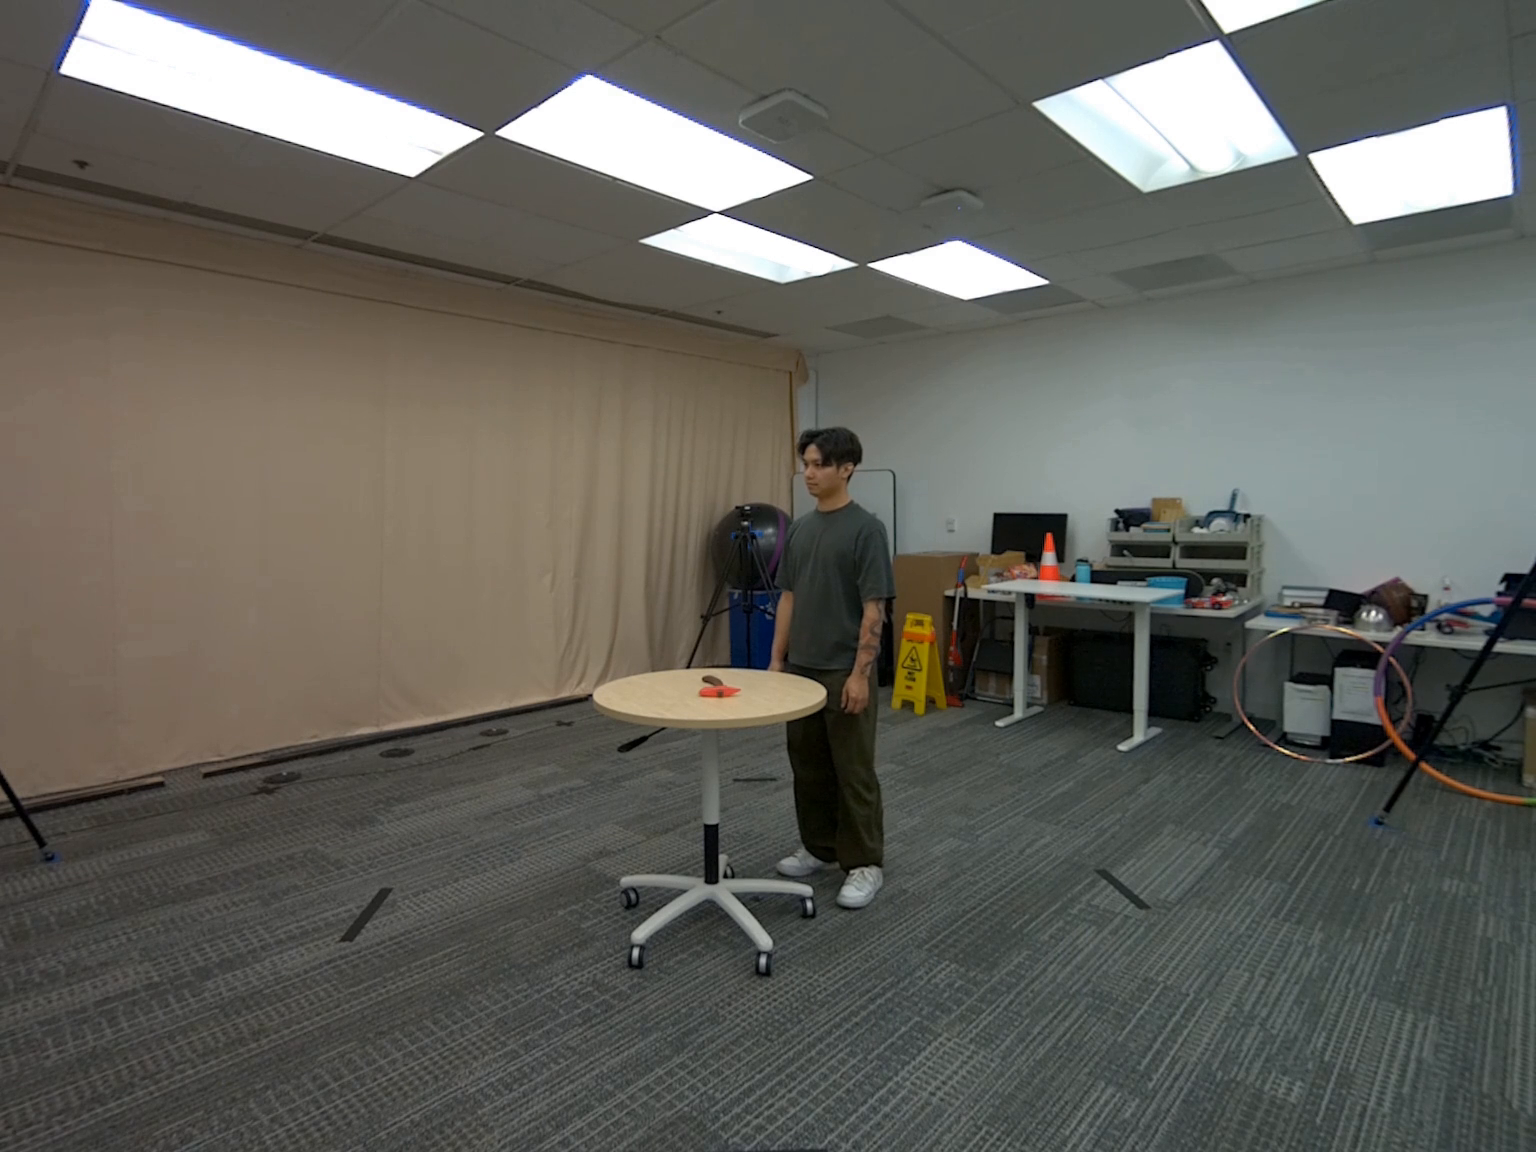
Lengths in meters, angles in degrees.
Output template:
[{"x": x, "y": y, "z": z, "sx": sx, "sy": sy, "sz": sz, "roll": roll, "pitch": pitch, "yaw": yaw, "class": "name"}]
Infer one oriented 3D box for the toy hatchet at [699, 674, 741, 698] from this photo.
[{"x": -0.196, "y": 0.370, "z": 2.779, "sx": 0.128, "sy": 0.029, "sz": 0.276, "roll": -7, "pitch": 5, "yaw": -22, "class": "toy hatchet"}]
